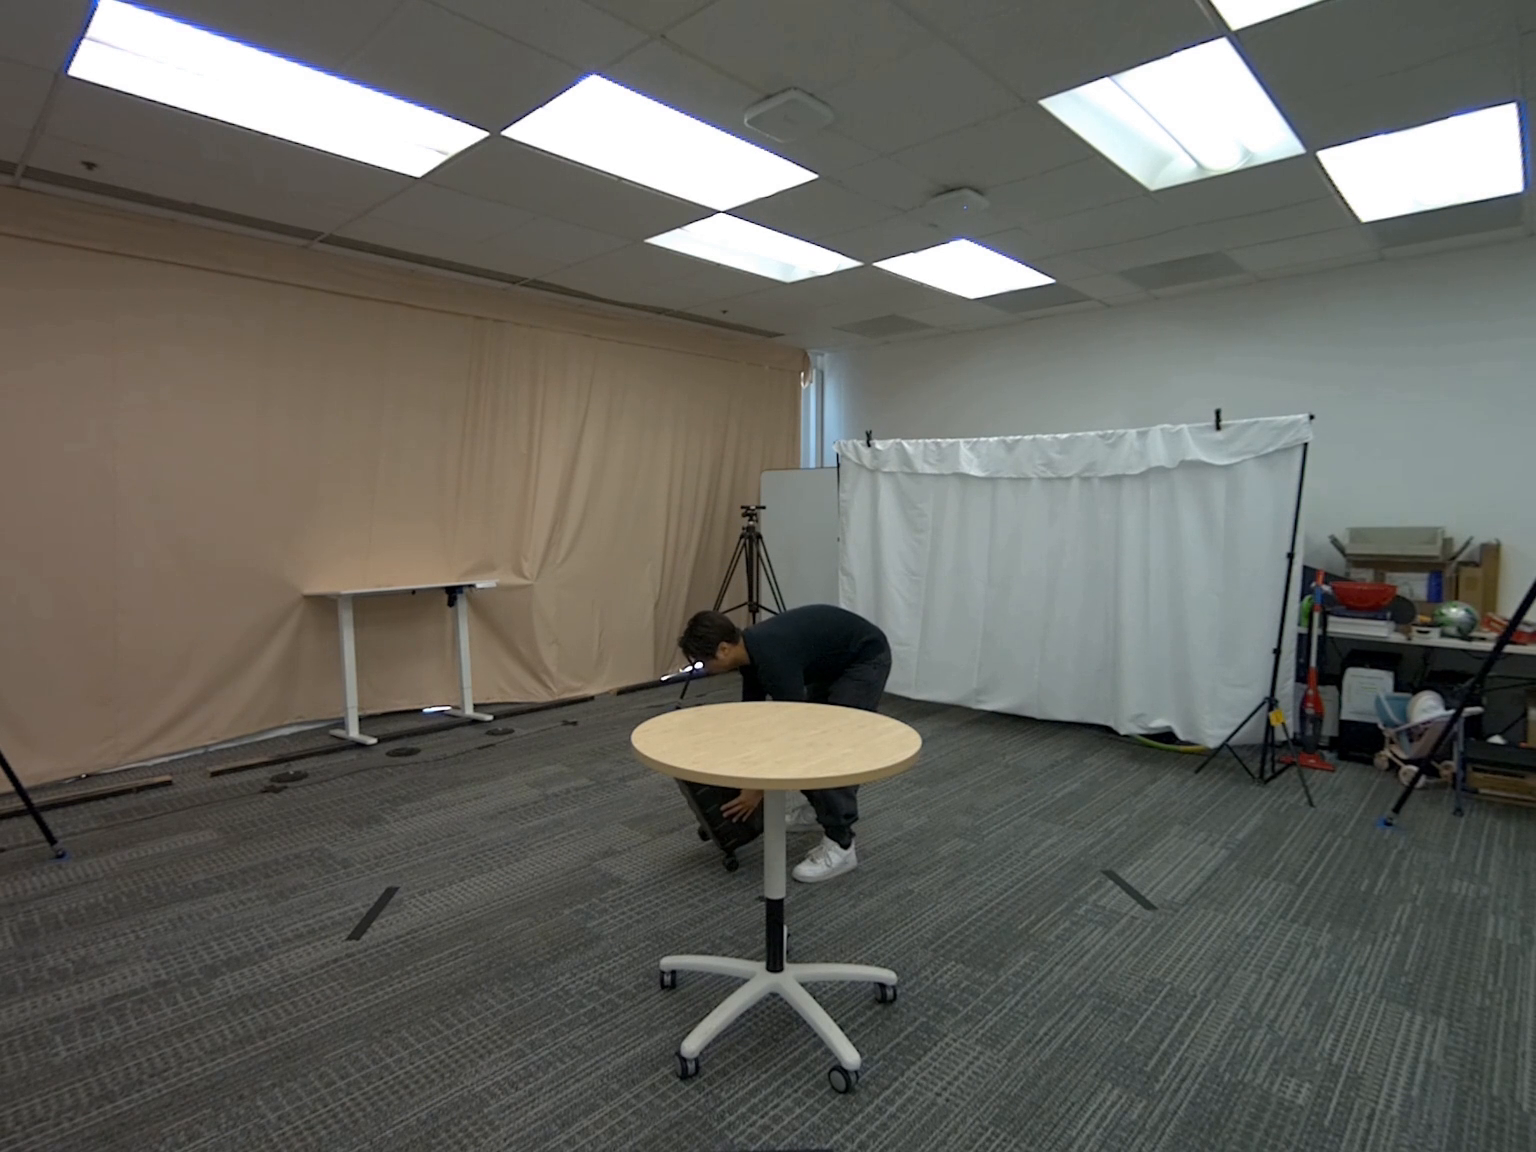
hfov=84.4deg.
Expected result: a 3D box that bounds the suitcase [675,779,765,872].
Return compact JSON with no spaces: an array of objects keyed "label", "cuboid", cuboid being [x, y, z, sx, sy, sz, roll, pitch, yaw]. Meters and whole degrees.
[{"label":"suitcase","cuboid":[-0.203,0.796,3.269,0.246,0.542,0.384,-30,15,-16]}]
